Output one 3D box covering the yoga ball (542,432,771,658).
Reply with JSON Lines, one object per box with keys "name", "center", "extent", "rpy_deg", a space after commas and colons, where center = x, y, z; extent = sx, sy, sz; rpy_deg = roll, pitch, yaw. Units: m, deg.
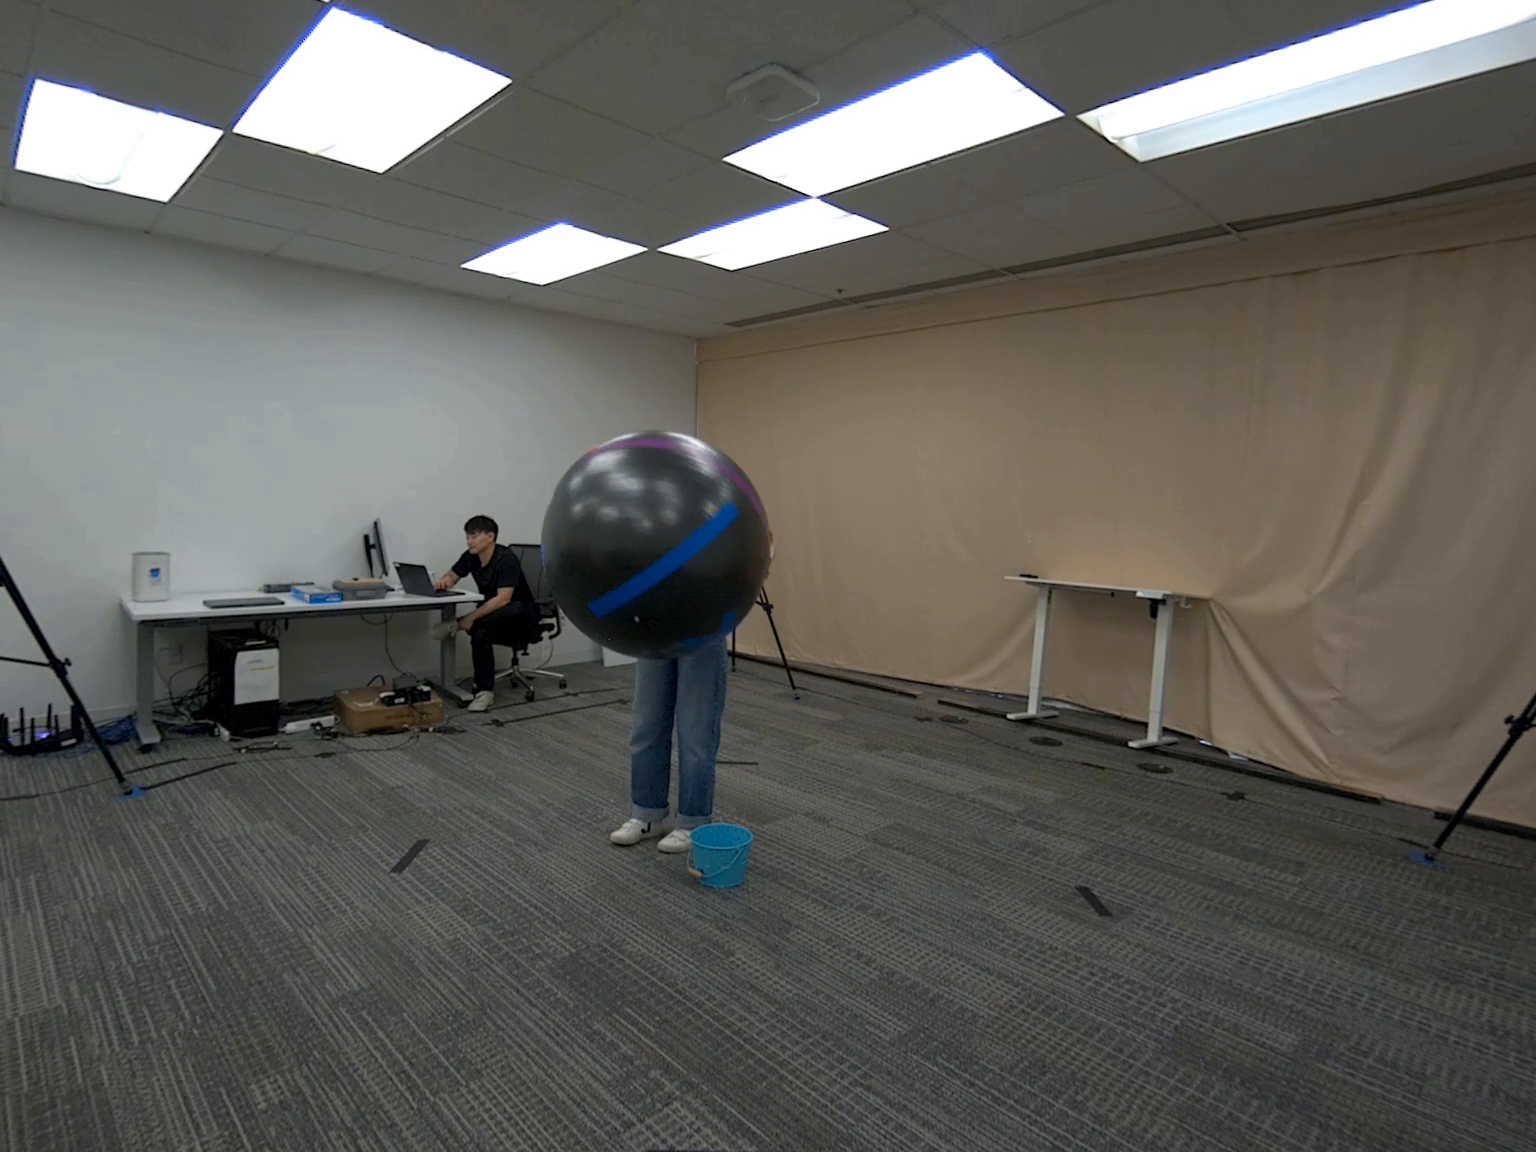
{"name": "yoga ball", "center": [-0.375, -0.096, 2.807], "extent": [0.757, 0.756, 0.761], "rpy_deg": [1, 4, -1]}
